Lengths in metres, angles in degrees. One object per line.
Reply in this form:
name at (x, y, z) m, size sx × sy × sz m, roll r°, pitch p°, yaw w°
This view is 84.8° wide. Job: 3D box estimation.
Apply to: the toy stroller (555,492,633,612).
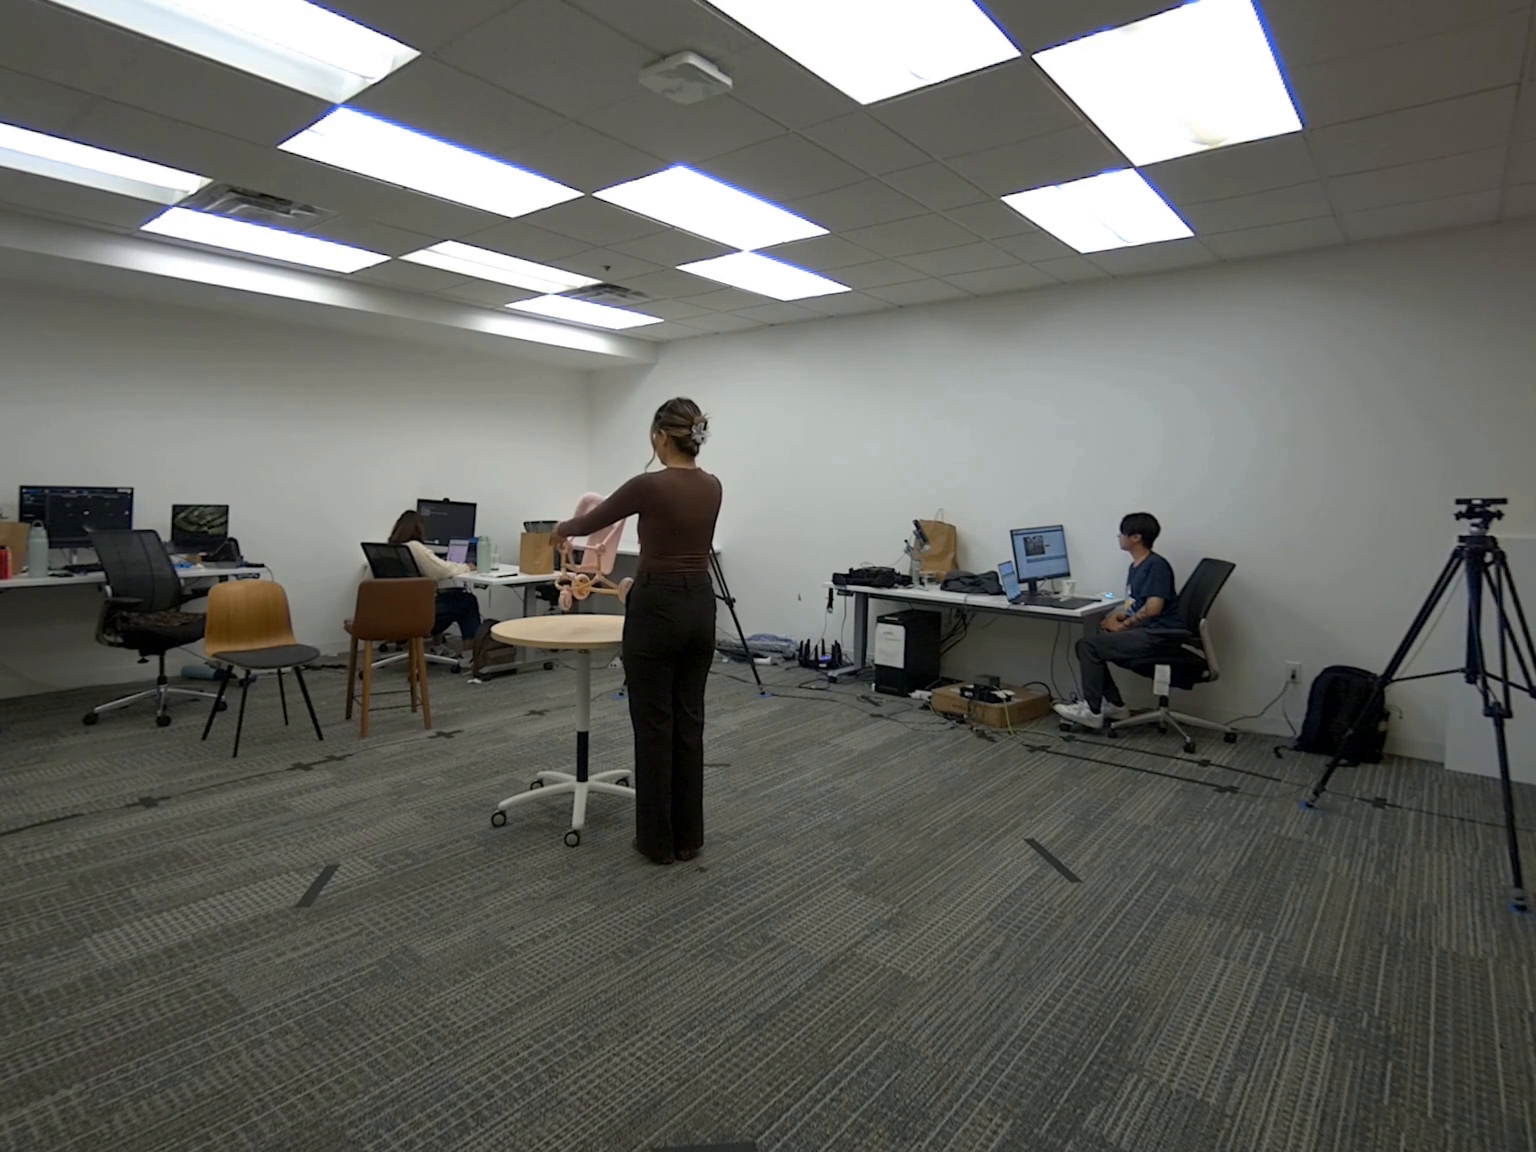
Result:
toy stroller at (-0.762, -0.115, 3.607) m, size 0.290 × 0.537 × 0.329 m, roll 3°, pitch -6°, yaw 34°
